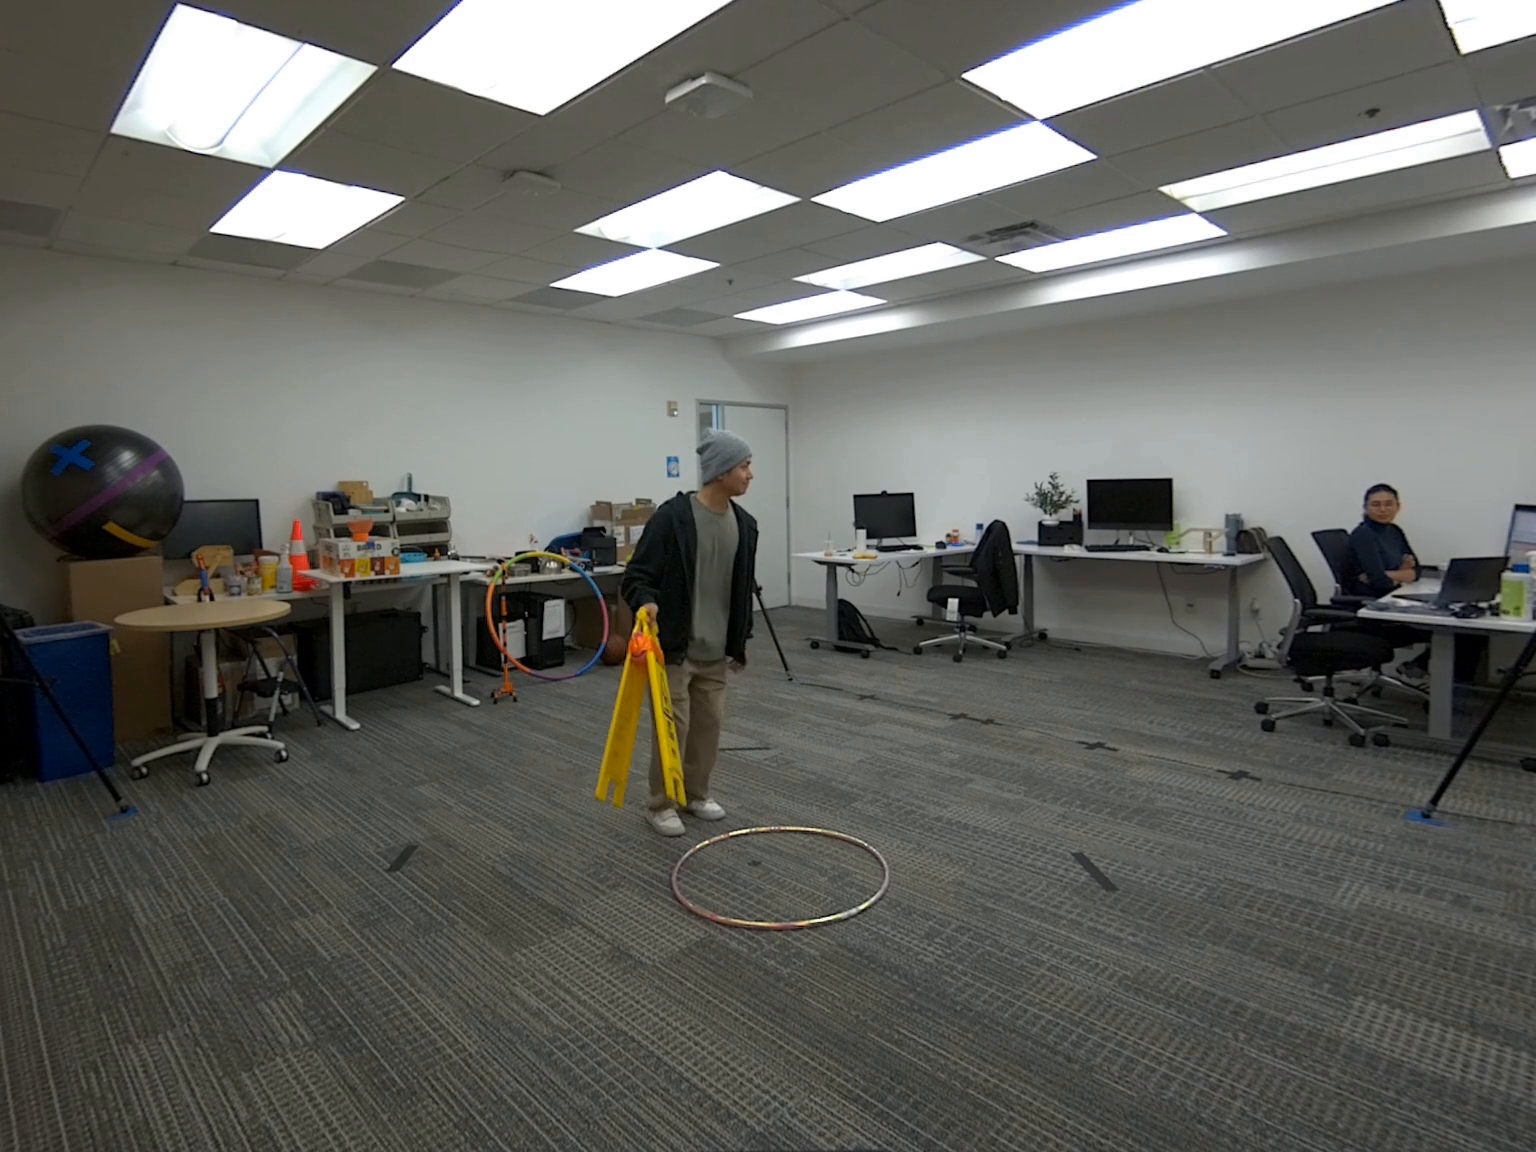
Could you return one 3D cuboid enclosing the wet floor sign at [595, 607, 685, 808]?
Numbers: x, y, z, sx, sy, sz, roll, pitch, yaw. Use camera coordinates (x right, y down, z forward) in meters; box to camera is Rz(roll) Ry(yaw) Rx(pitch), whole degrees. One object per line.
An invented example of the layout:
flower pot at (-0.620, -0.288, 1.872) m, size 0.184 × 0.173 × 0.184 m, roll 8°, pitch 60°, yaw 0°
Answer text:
wet floor sign at (-0.421, 0.440, 2.952) m, size 0.292 × 0.658 × 0.275 m, roll -3°, pitch -21°, yaw 6°
